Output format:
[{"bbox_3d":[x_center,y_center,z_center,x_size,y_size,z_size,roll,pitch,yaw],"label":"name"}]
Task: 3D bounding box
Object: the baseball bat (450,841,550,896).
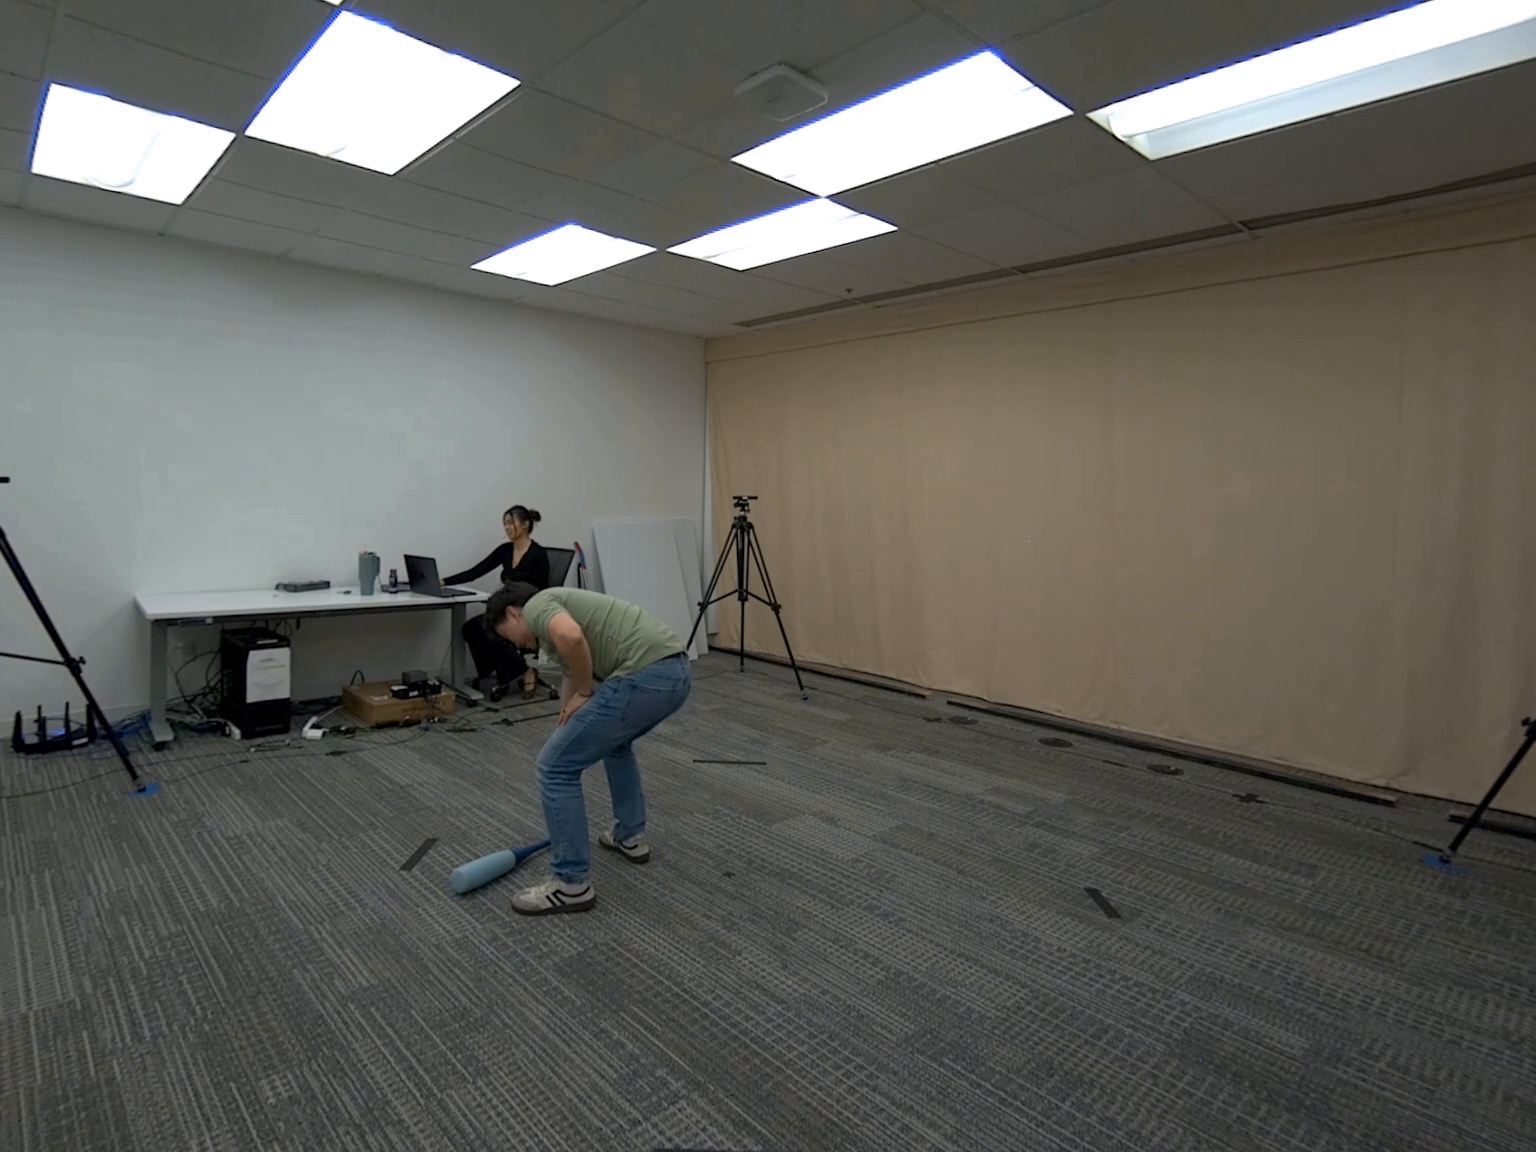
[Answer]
[{"bbox_3d":[-0.955,1.048,3.117,0.091,0.089,0.533,3,2,24],"label":"baseball bat"}]
